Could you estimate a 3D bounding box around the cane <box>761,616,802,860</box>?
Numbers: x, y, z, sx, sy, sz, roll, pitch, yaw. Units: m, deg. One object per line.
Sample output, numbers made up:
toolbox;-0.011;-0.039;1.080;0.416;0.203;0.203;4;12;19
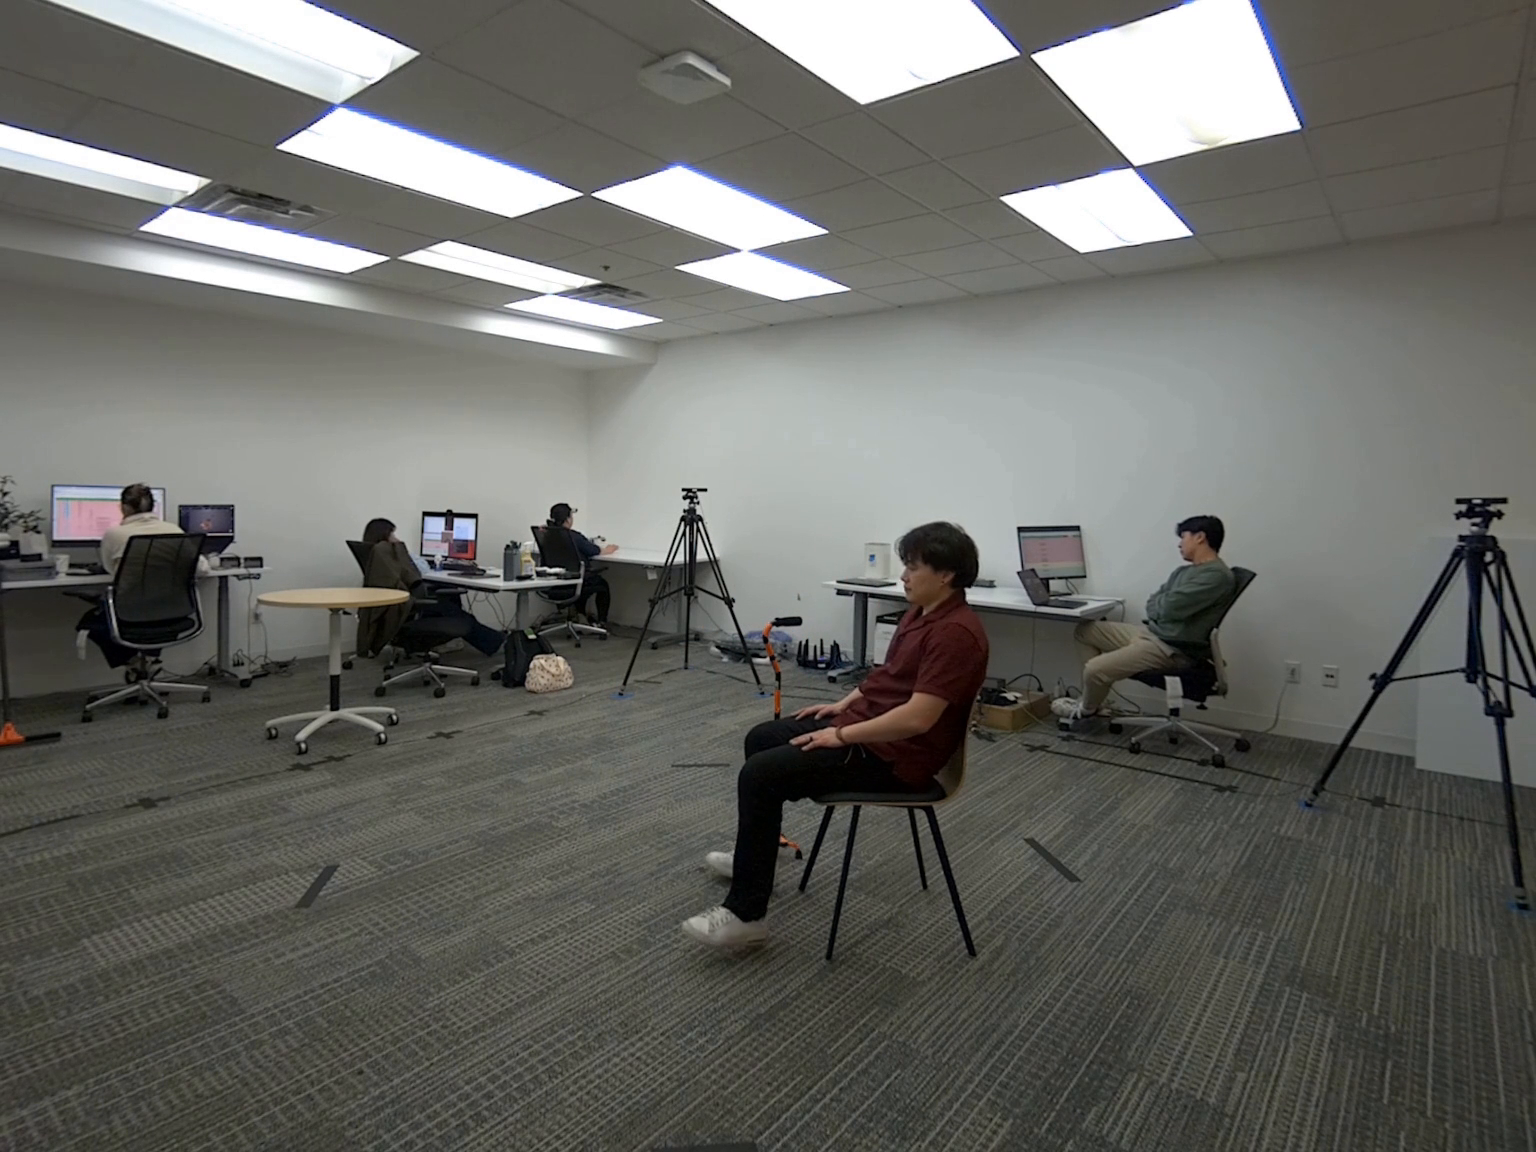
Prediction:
cane;0.017;0.601;3.219;0.201;0.906;0.156;0;3;-29
